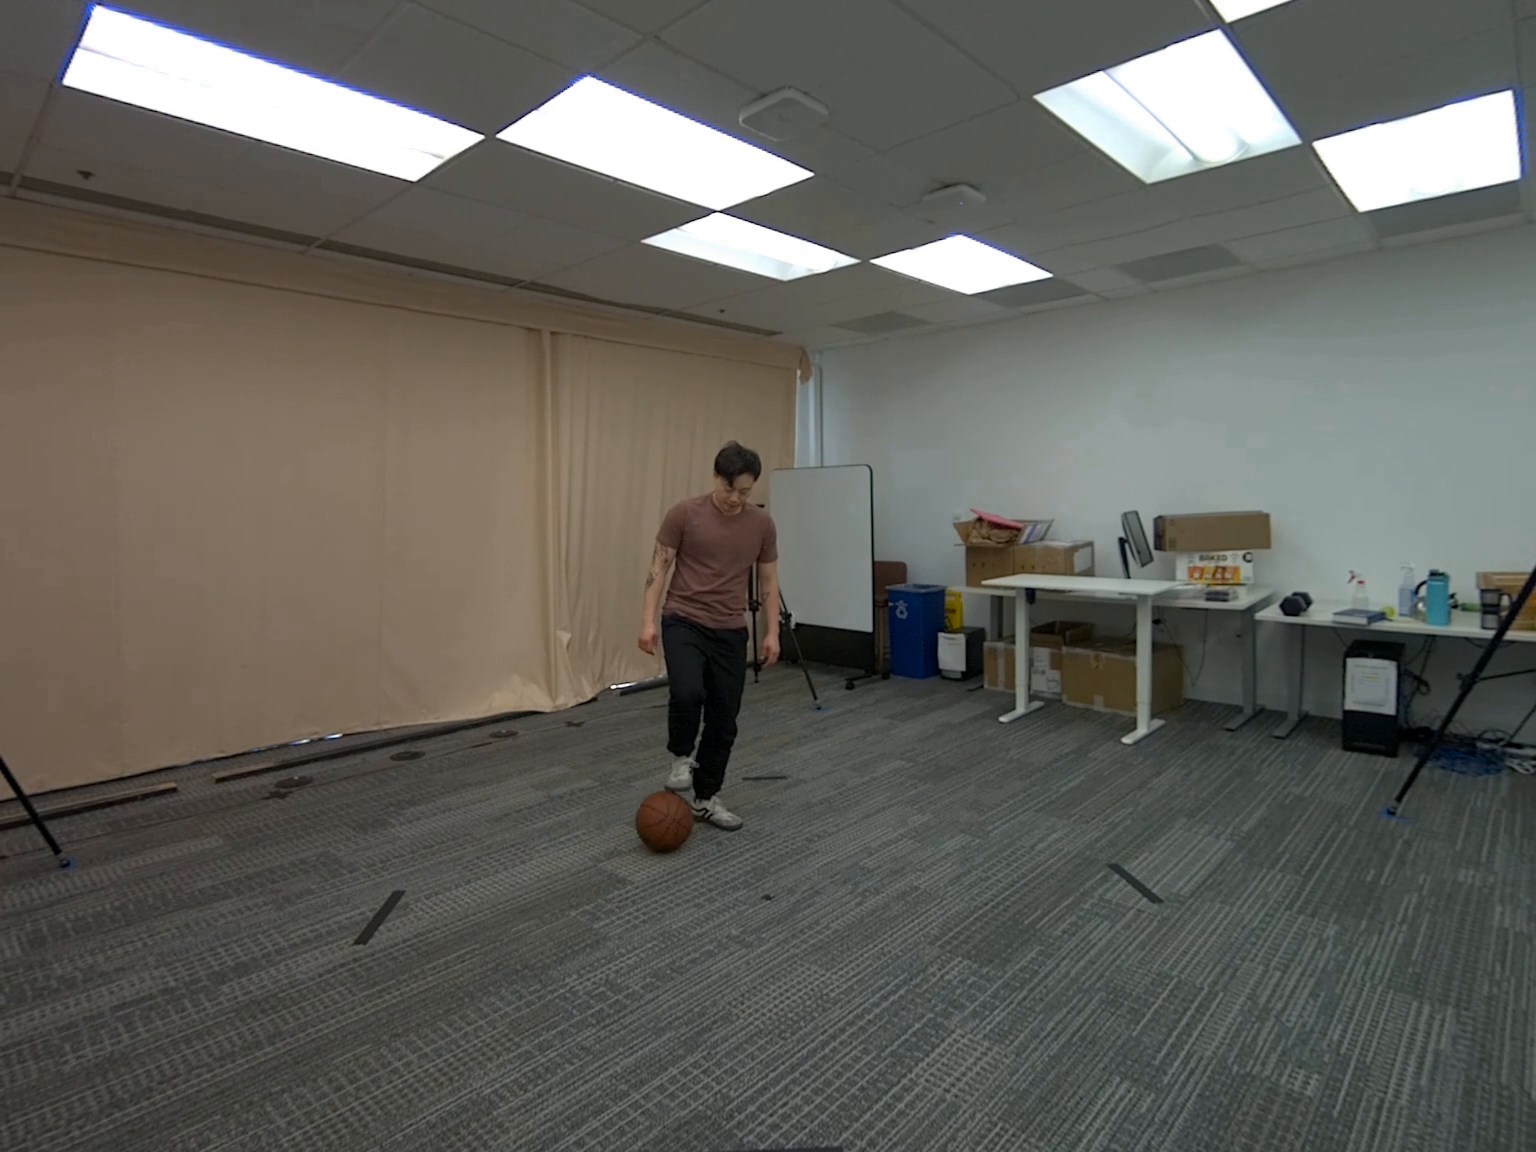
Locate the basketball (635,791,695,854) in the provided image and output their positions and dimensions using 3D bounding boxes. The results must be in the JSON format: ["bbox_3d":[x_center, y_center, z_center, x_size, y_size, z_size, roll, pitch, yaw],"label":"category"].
[{"bbox_3d":[-0.423,0.991,3.414,0.236,0.235,0.237,-1,4,-2],"label":"basketball"}]
